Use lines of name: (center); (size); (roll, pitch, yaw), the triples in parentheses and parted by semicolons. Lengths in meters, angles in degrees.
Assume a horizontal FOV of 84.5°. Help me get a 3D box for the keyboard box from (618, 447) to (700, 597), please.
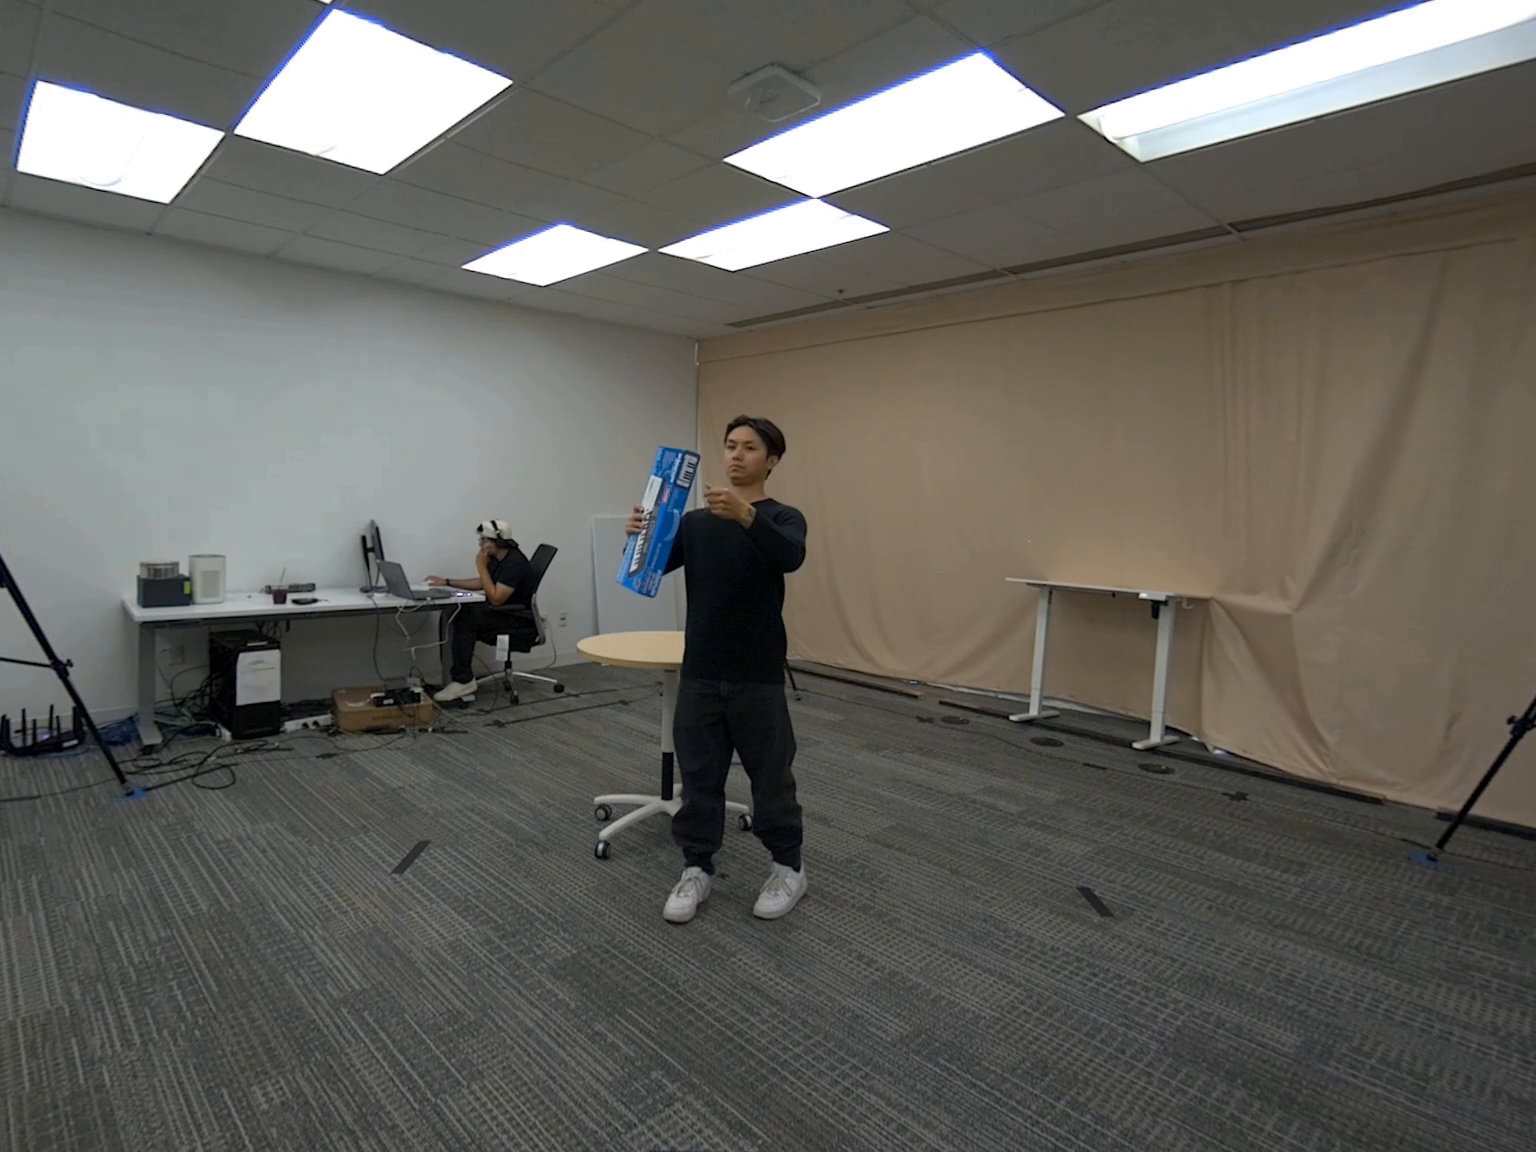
keyboard box: (-0.336, -0.165, 2.506); (0.057, 0.437, 0.181); (18, 1, -34)
